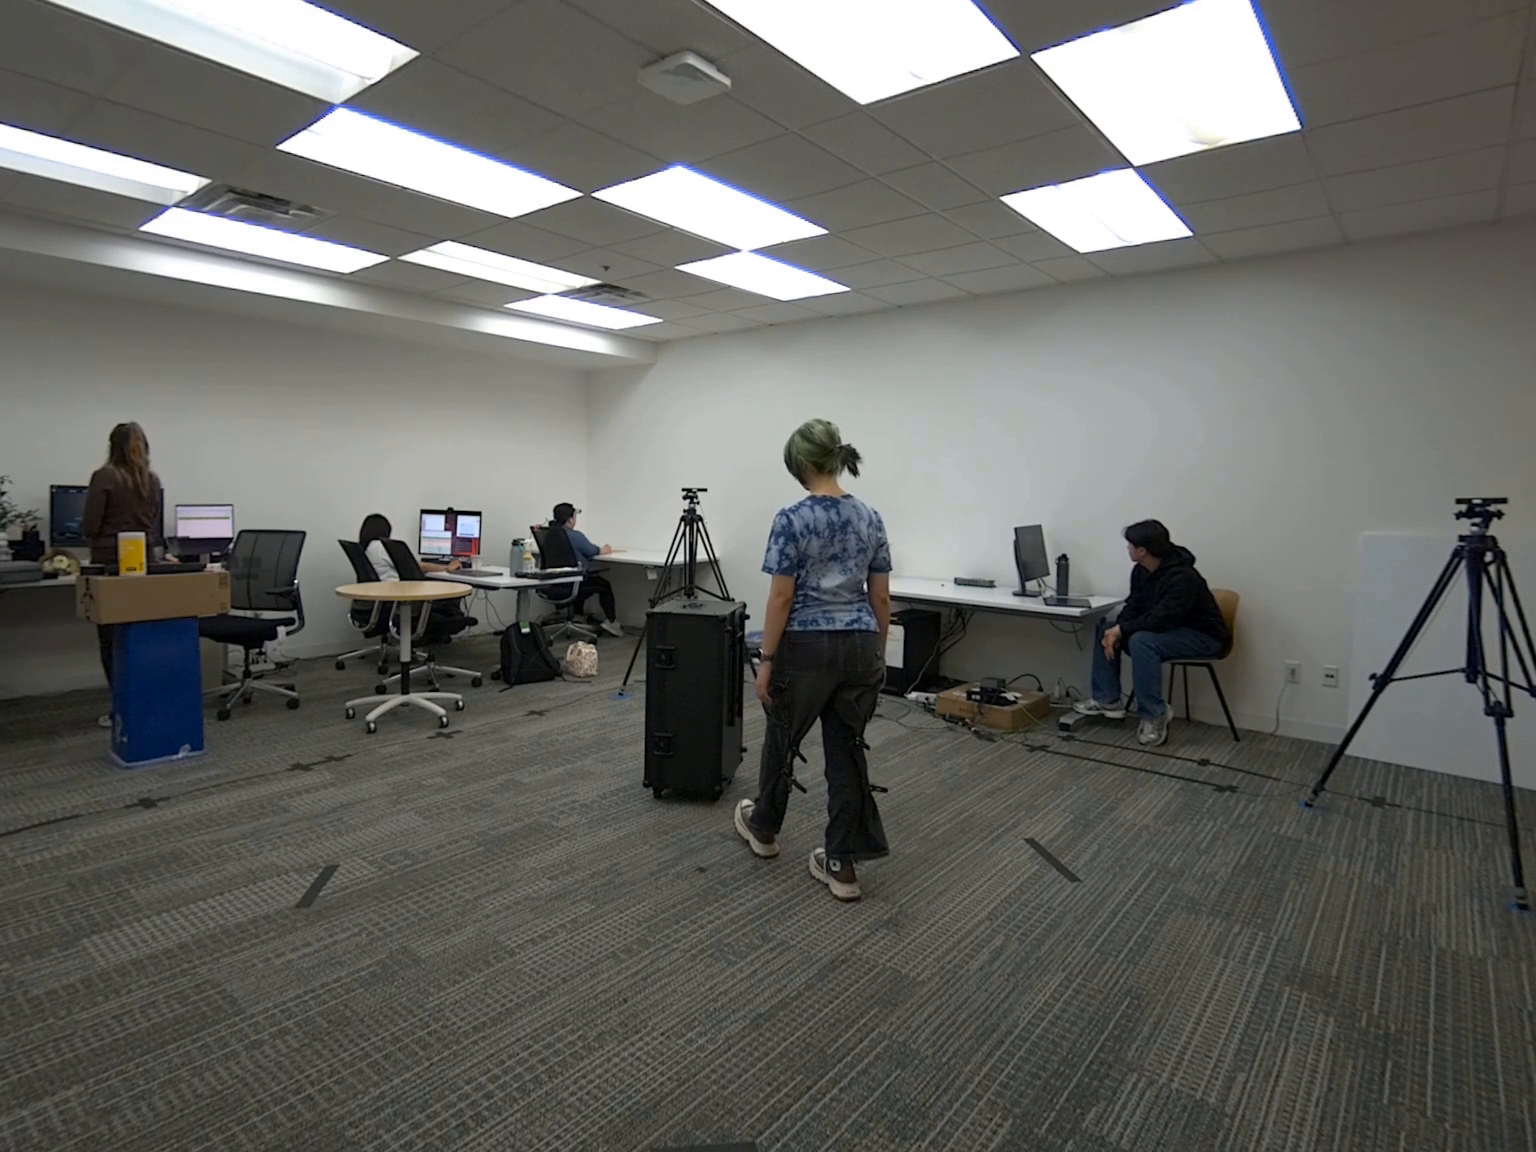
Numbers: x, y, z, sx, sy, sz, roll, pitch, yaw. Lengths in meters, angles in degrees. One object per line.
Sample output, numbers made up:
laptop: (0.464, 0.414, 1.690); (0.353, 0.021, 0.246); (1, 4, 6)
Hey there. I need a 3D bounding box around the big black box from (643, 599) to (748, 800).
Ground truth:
big black box: (-0.329, 0.559, 3.940); (0.402, 0.859, 0.516); (2, 3, 11)
